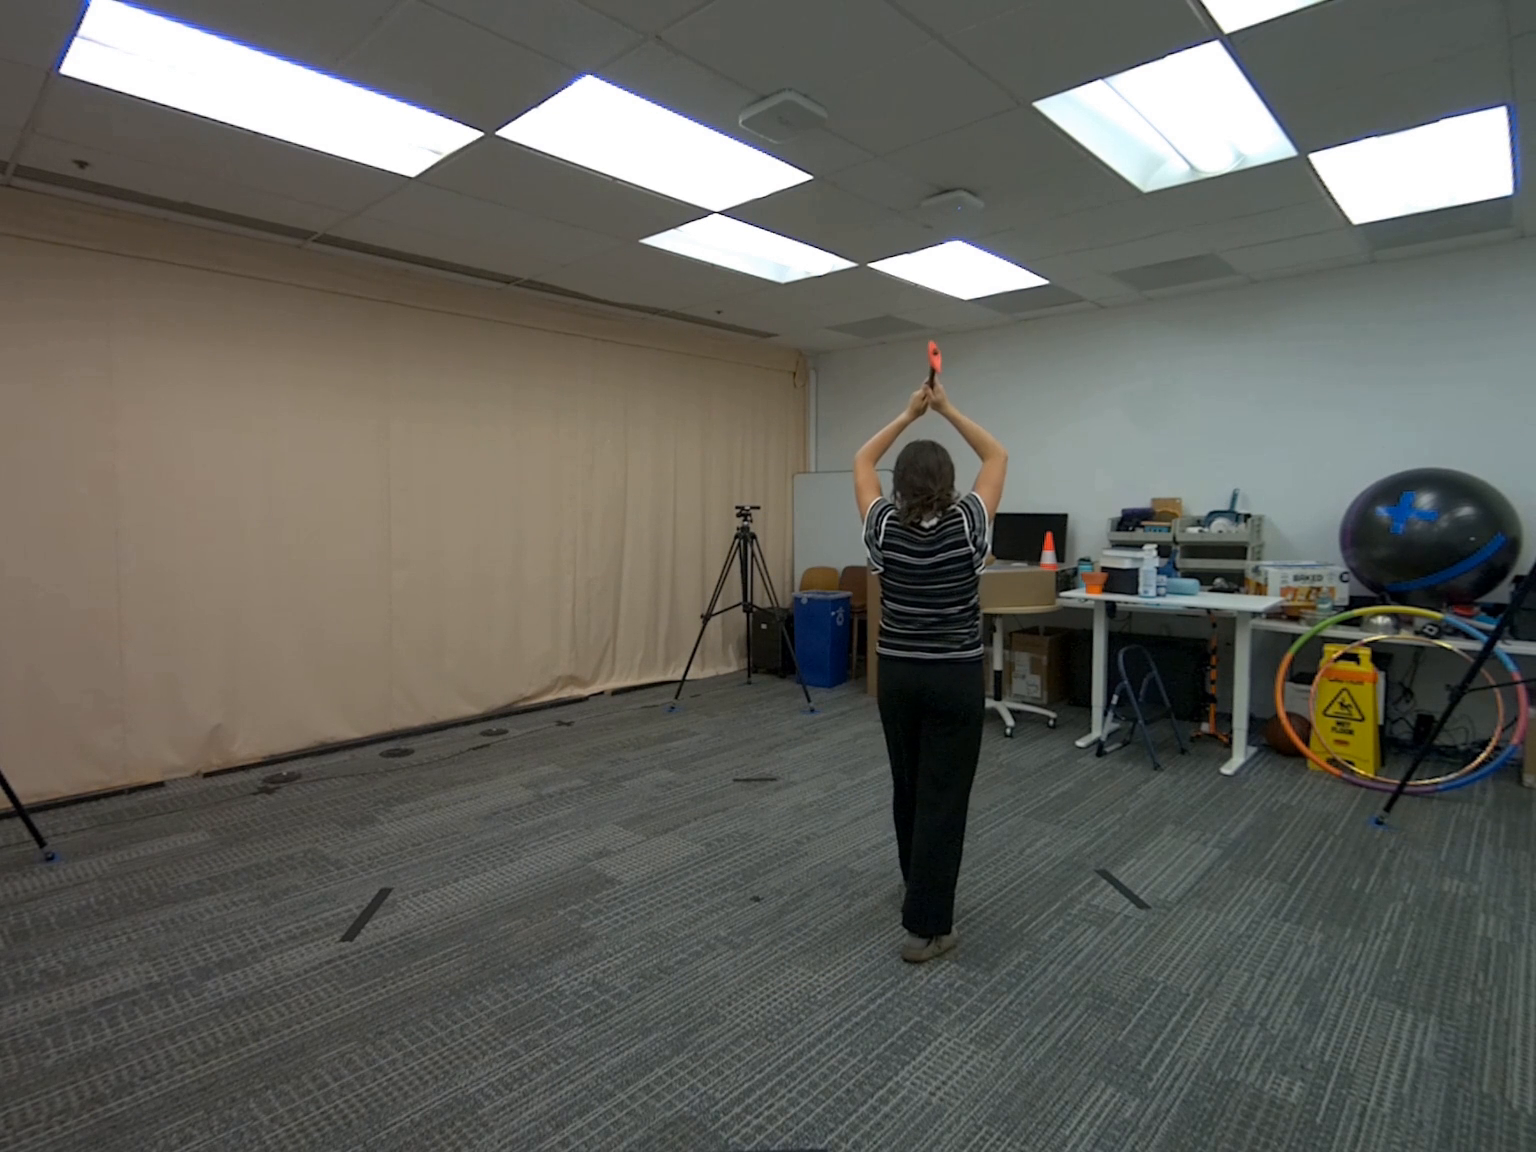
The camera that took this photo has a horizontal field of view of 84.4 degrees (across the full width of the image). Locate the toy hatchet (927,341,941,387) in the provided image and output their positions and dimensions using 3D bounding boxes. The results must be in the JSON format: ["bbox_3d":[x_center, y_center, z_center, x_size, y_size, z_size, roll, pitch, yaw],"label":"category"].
[{"bbox_3d":[0.524,-0.656,2.715,0.029,0.132,0.268,-5,-13,-4],"label":"toy hatchet"}]
